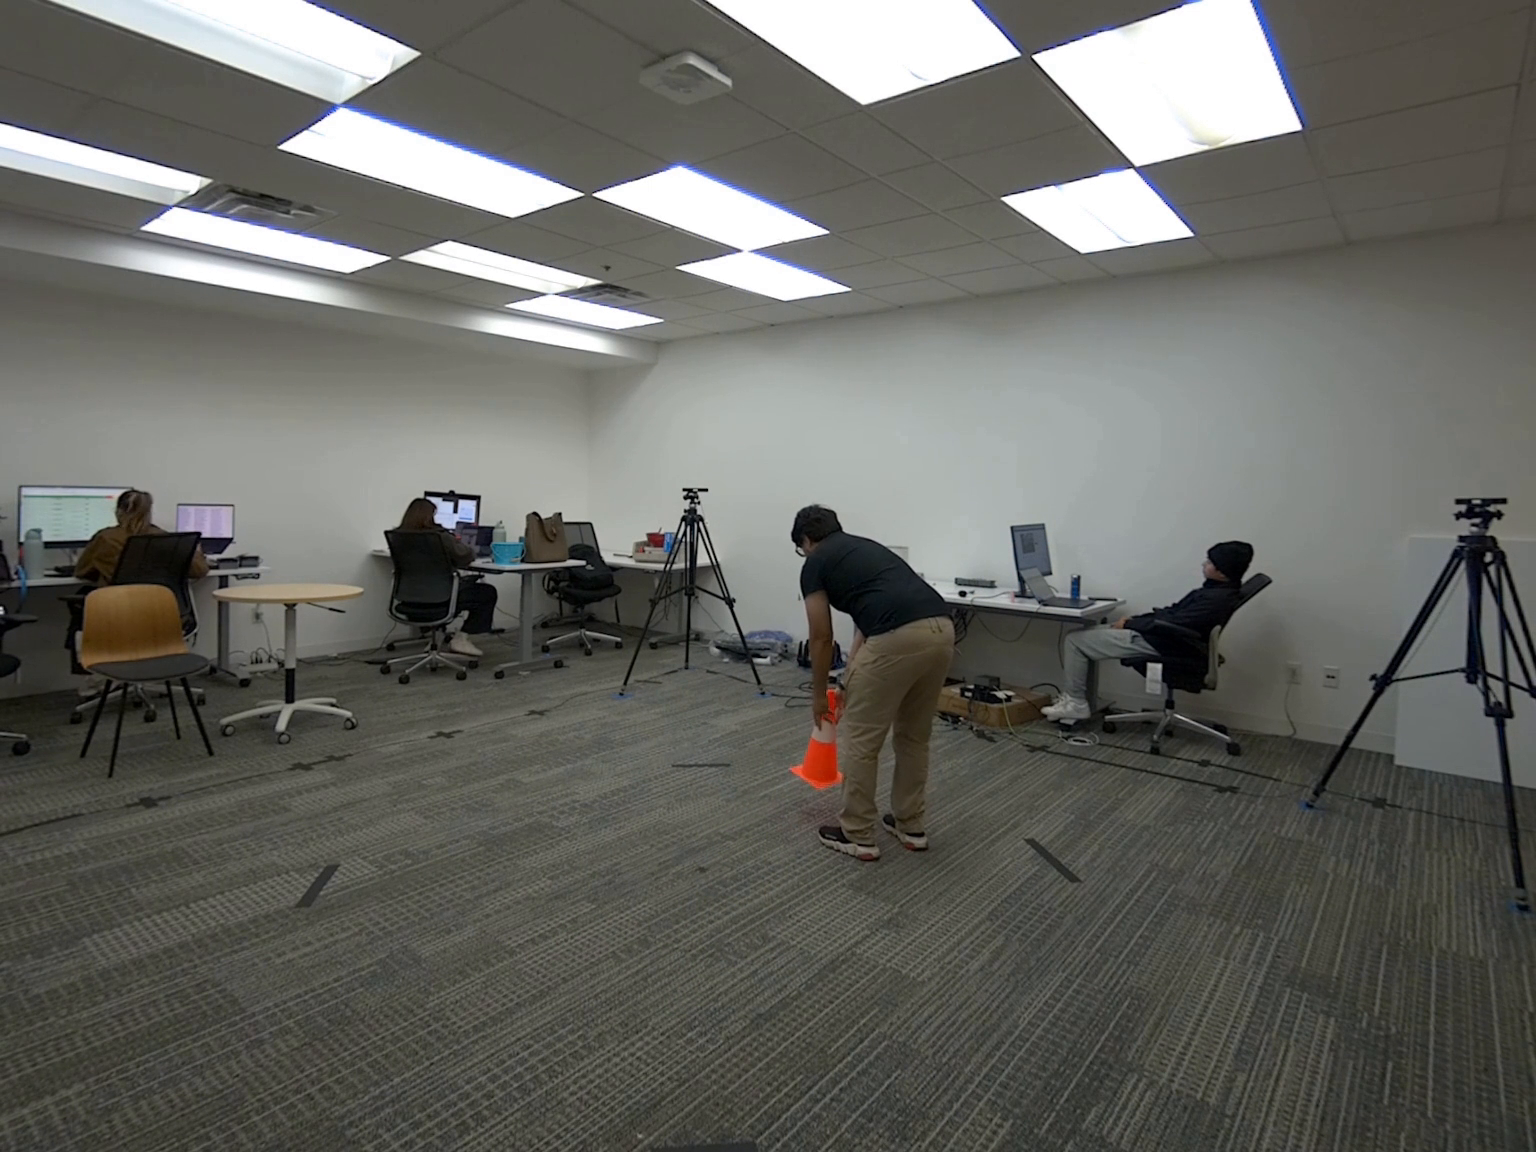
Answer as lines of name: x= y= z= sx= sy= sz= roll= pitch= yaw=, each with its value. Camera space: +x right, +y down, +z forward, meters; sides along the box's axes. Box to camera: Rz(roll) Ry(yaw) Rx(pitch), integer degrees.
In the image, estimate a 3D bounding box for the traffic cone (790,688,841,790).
traffic cone: x=0.234 y=0.690 z=3.645 sx=0.197 sy=0.380 sz=0.213 roll=-5 pitch=16 yaw=-39
